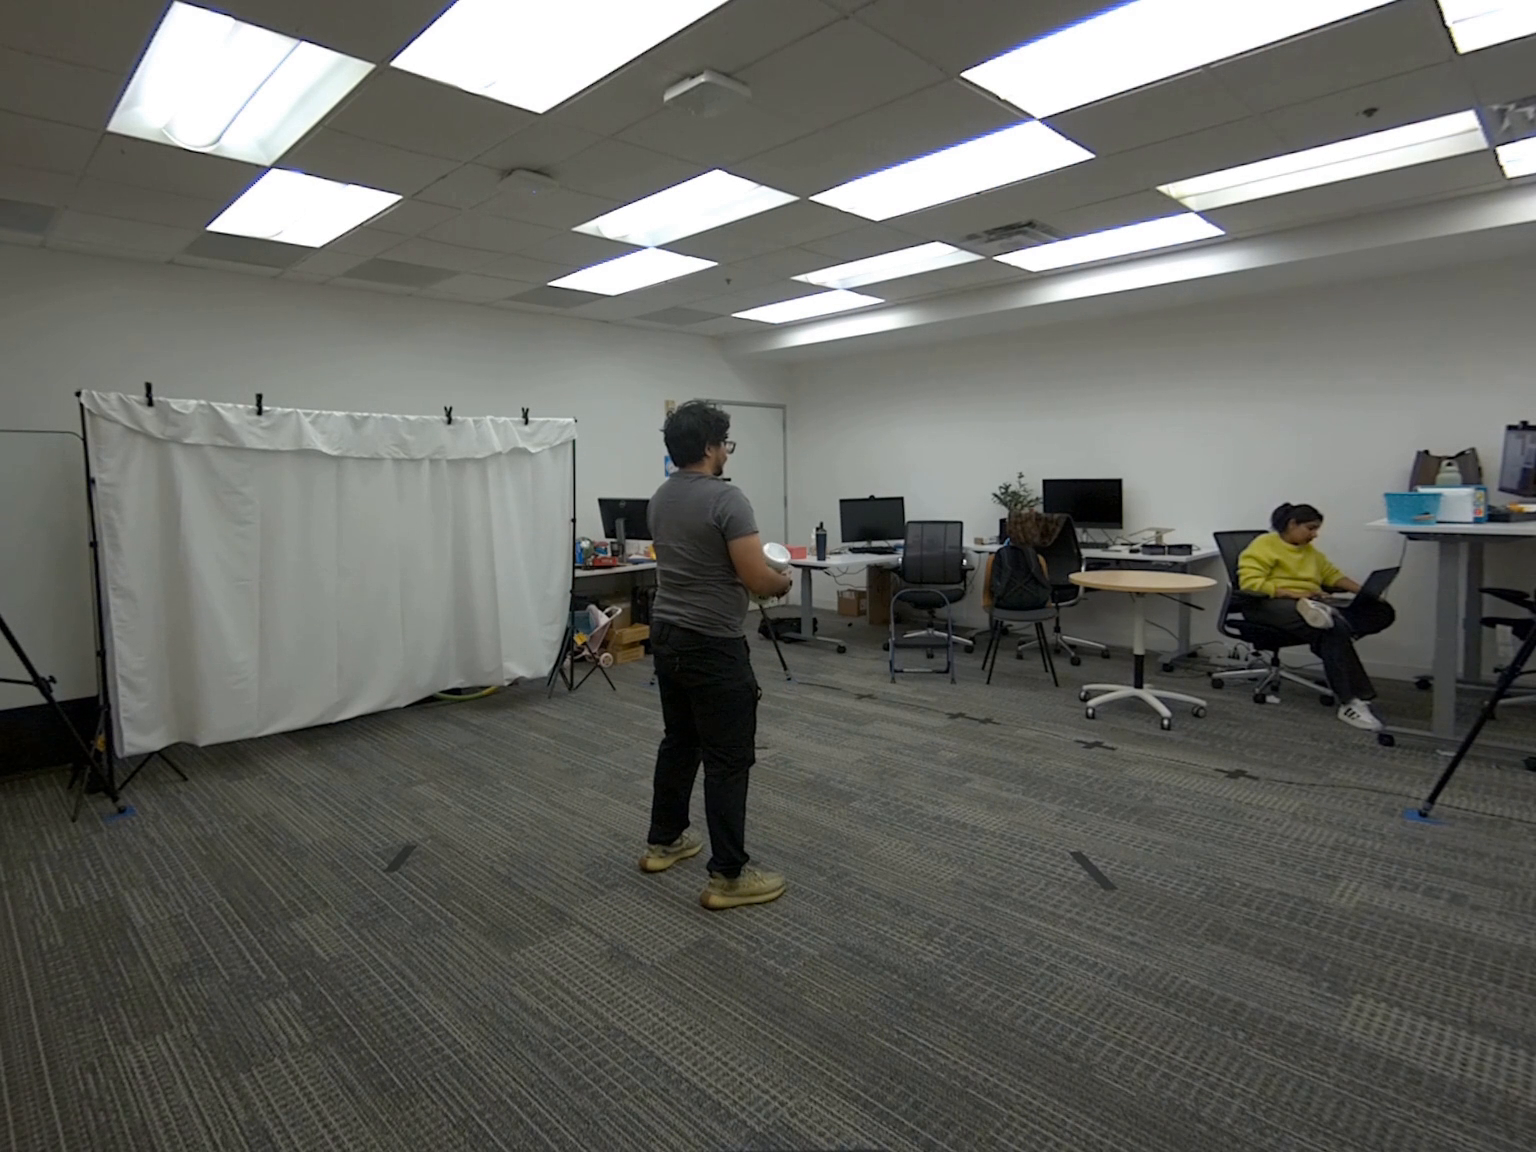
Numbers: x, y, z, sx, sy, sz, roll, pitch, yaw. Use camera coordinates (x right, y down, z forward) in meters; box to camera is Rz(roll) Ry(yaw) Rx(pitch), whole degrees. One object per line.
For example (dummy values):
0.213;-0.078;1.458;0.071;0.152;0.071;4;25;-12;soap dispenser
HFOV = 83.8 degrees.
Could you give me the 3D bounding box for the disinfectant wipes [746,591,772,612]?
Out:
0.000;-0.008;3.109;0.116;0.214;0.121;14;35;-12;disinfectant wipes
